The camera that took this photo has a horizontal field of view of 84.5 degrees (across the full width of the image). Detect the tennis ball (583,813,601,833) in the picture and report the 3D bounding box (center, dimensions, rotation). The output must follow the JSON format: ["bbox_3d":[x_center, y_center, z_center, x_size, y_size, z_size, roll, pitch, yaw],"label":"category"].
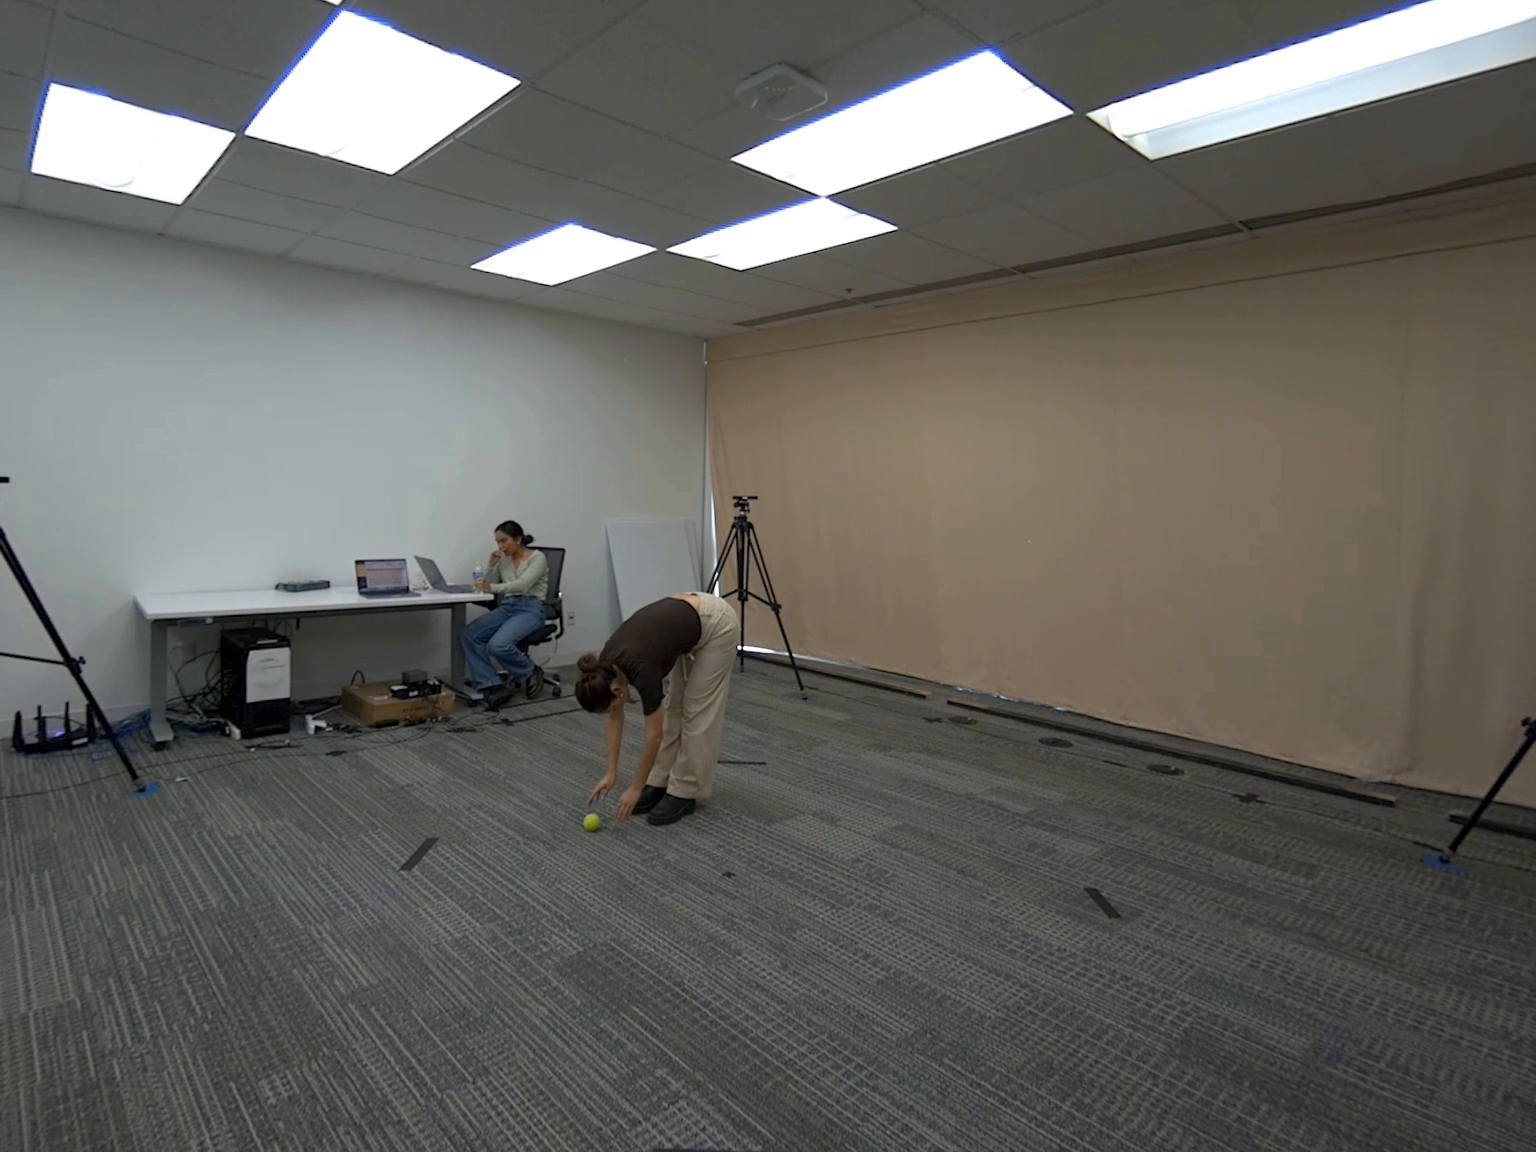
[{"bbox_3d":[-0.727,1.012,3.485,0.066,0.066,0.067,1,4,-1],"label":"tennis ball"}]
